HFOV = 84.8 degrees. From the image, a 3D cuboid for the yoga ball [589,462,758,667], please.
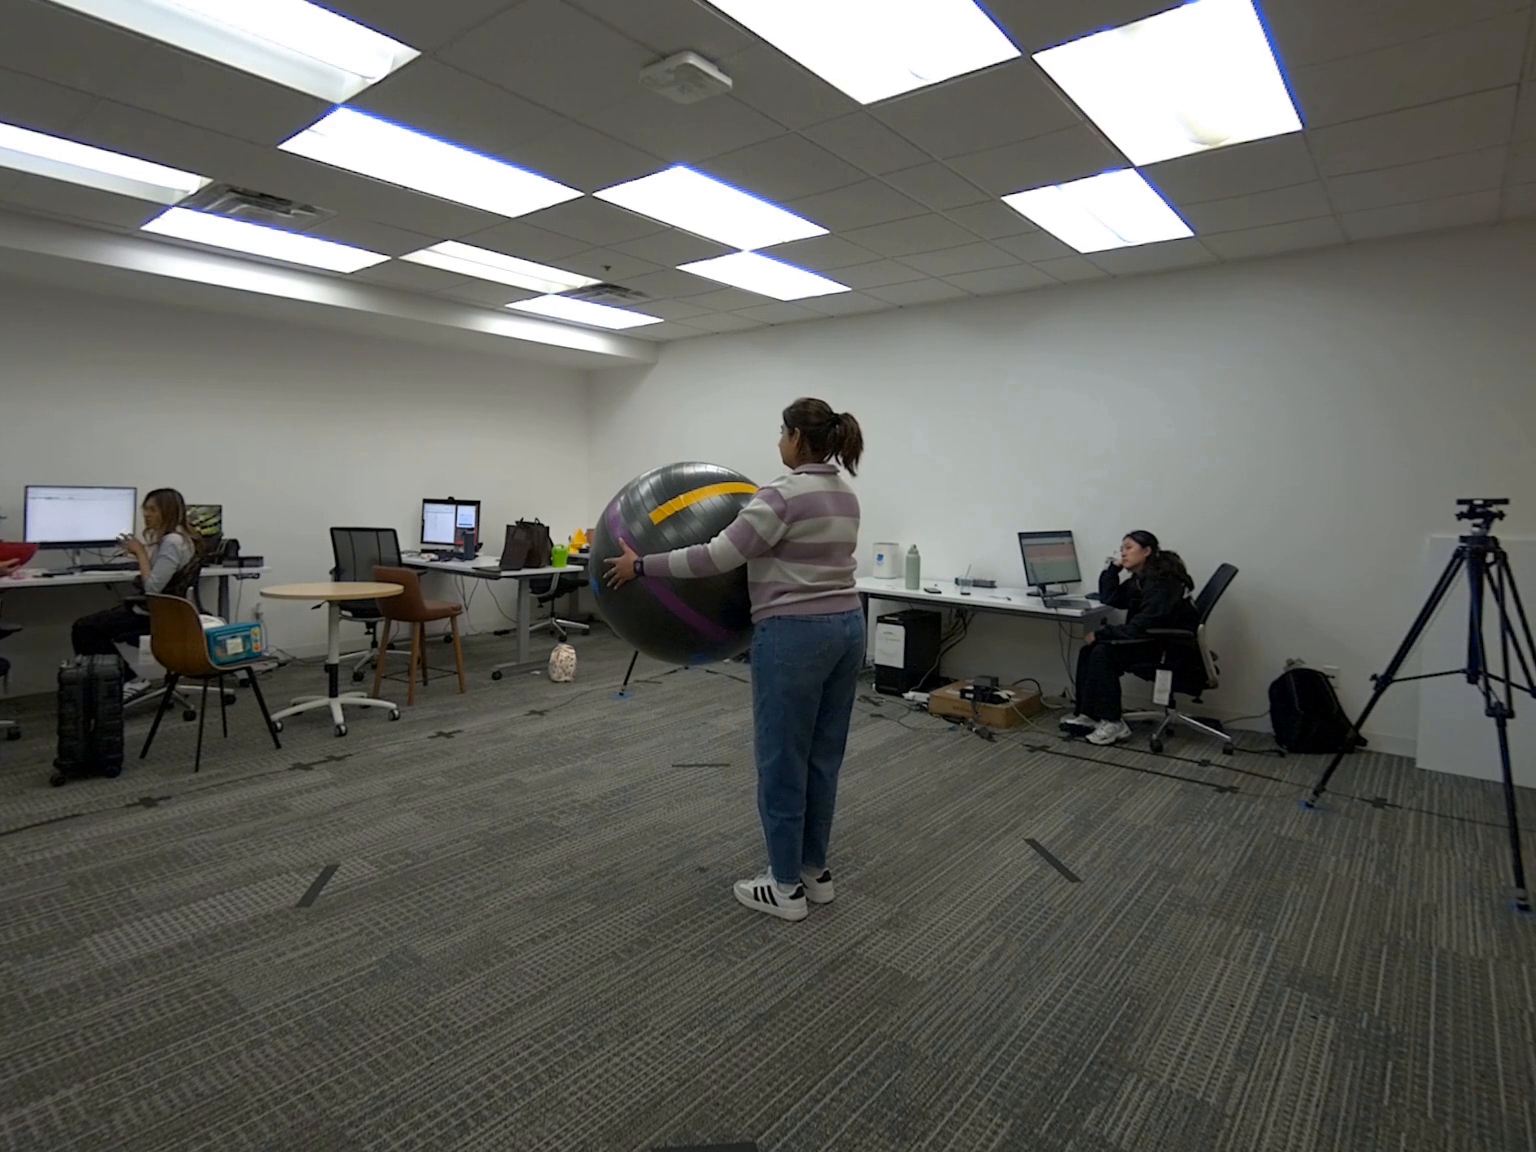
[{"bbox_3d":[-0.303,-0.046,3.176,0.757,0.756,0.762,1,4,-2],"label":"yoga ball"}]
